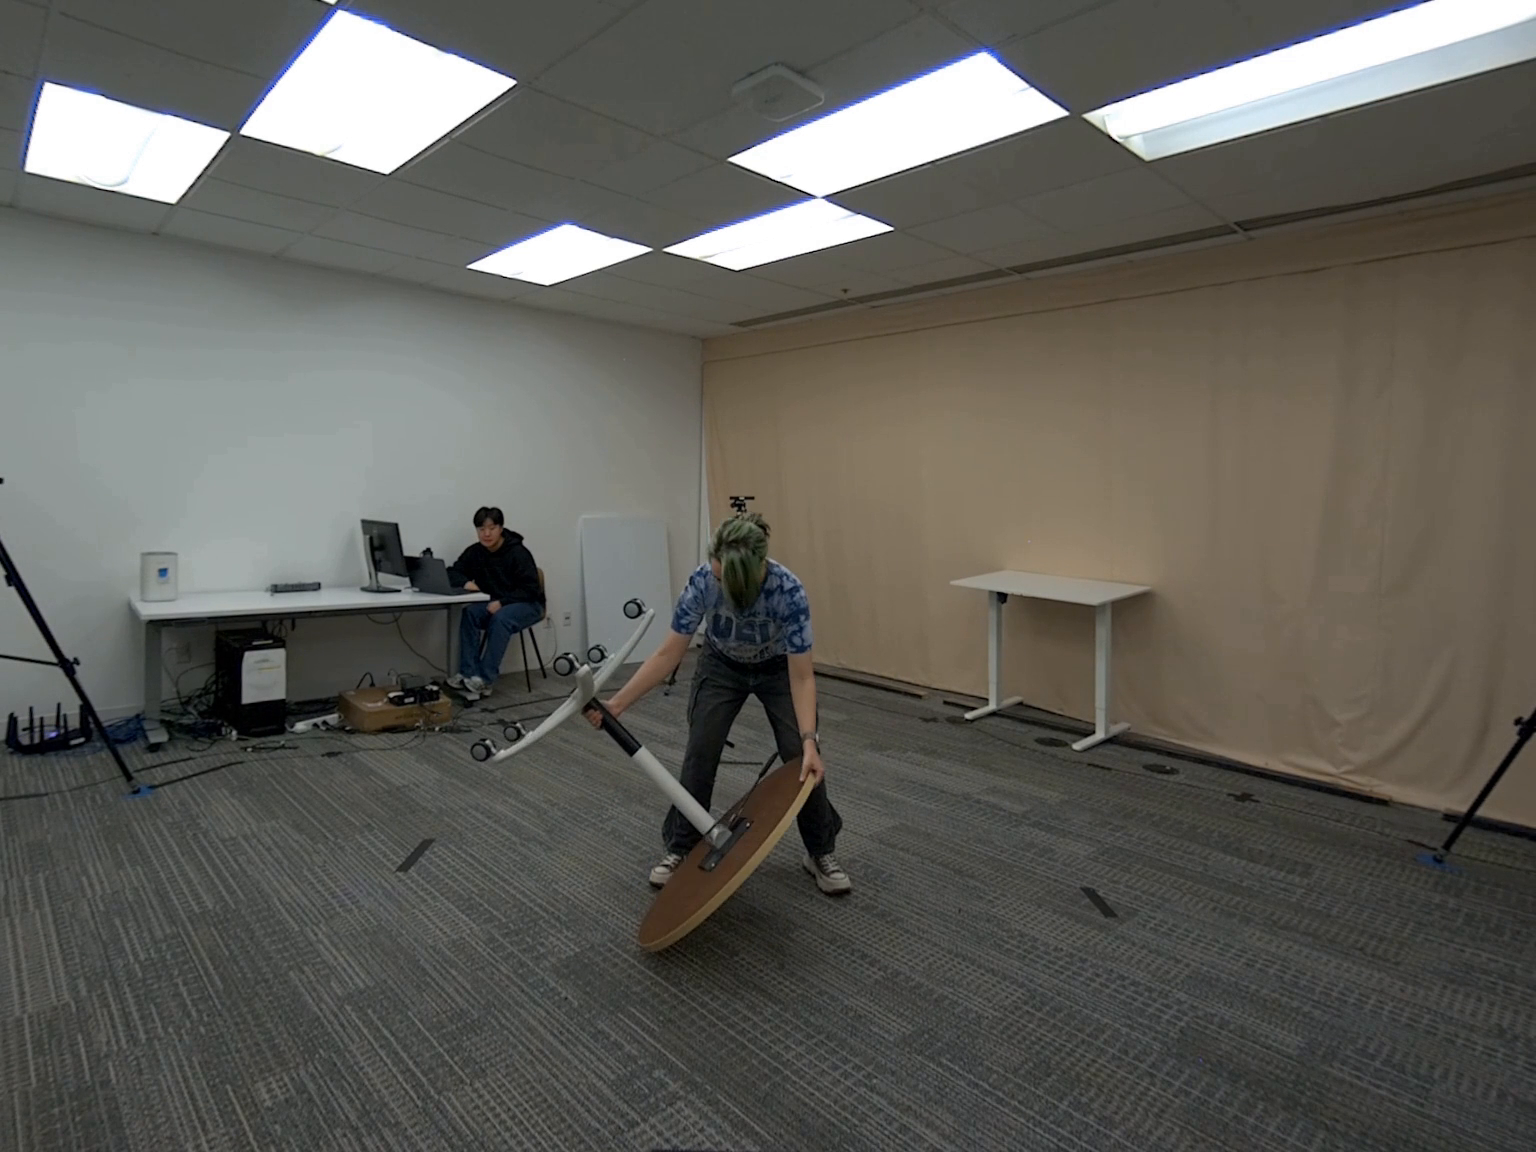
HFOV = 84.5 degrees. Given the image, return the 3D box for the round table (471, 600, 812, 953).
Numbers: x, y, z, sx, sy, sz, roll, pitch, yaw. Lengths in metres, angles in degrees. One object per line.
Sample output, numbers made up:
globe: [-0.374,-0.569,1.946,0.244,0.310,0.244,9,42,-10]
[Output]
round table: [-0.399,0.591,2.681,0.795,0.764,0.763,45,6,0]
